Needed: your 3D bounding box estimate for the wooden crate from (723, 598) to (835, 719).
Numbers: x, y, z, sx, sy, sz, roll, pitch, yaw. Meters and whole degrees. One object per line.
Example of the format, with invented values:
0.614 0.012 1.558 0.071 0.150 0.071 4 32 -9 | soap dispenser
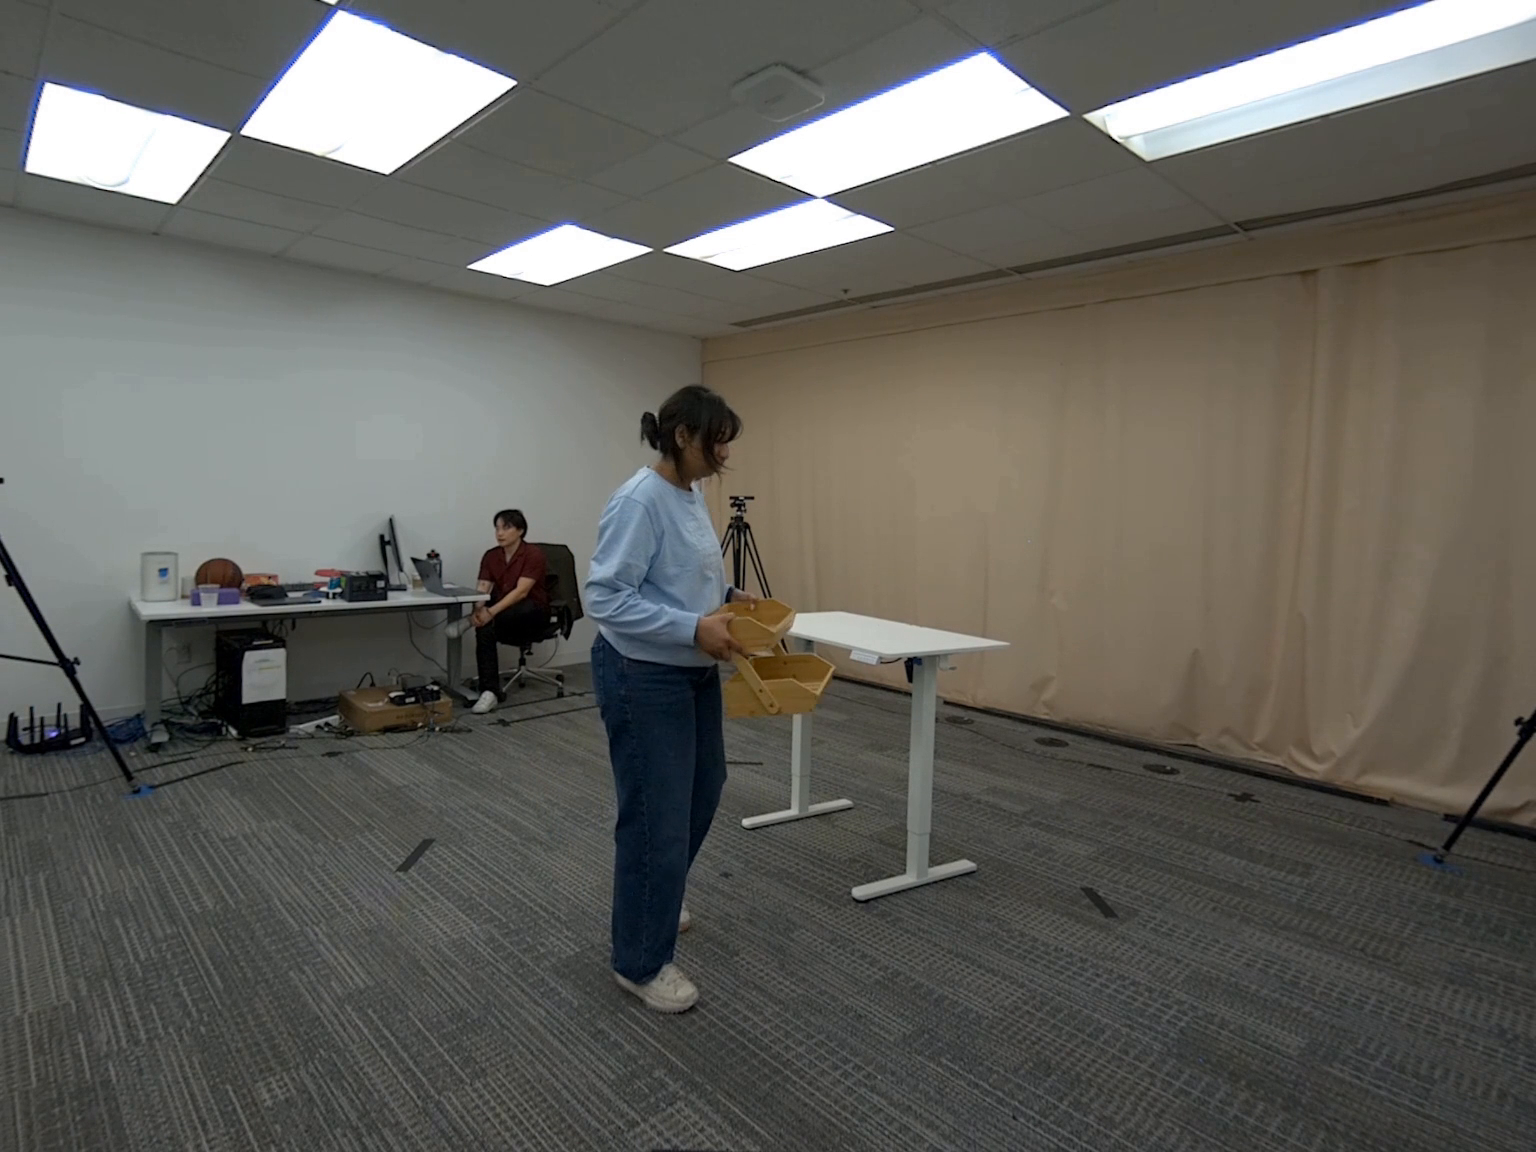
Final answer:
-0.008 0.210 2.315 0.305 0.272 0.322 -5 5 15 | wooden crate
